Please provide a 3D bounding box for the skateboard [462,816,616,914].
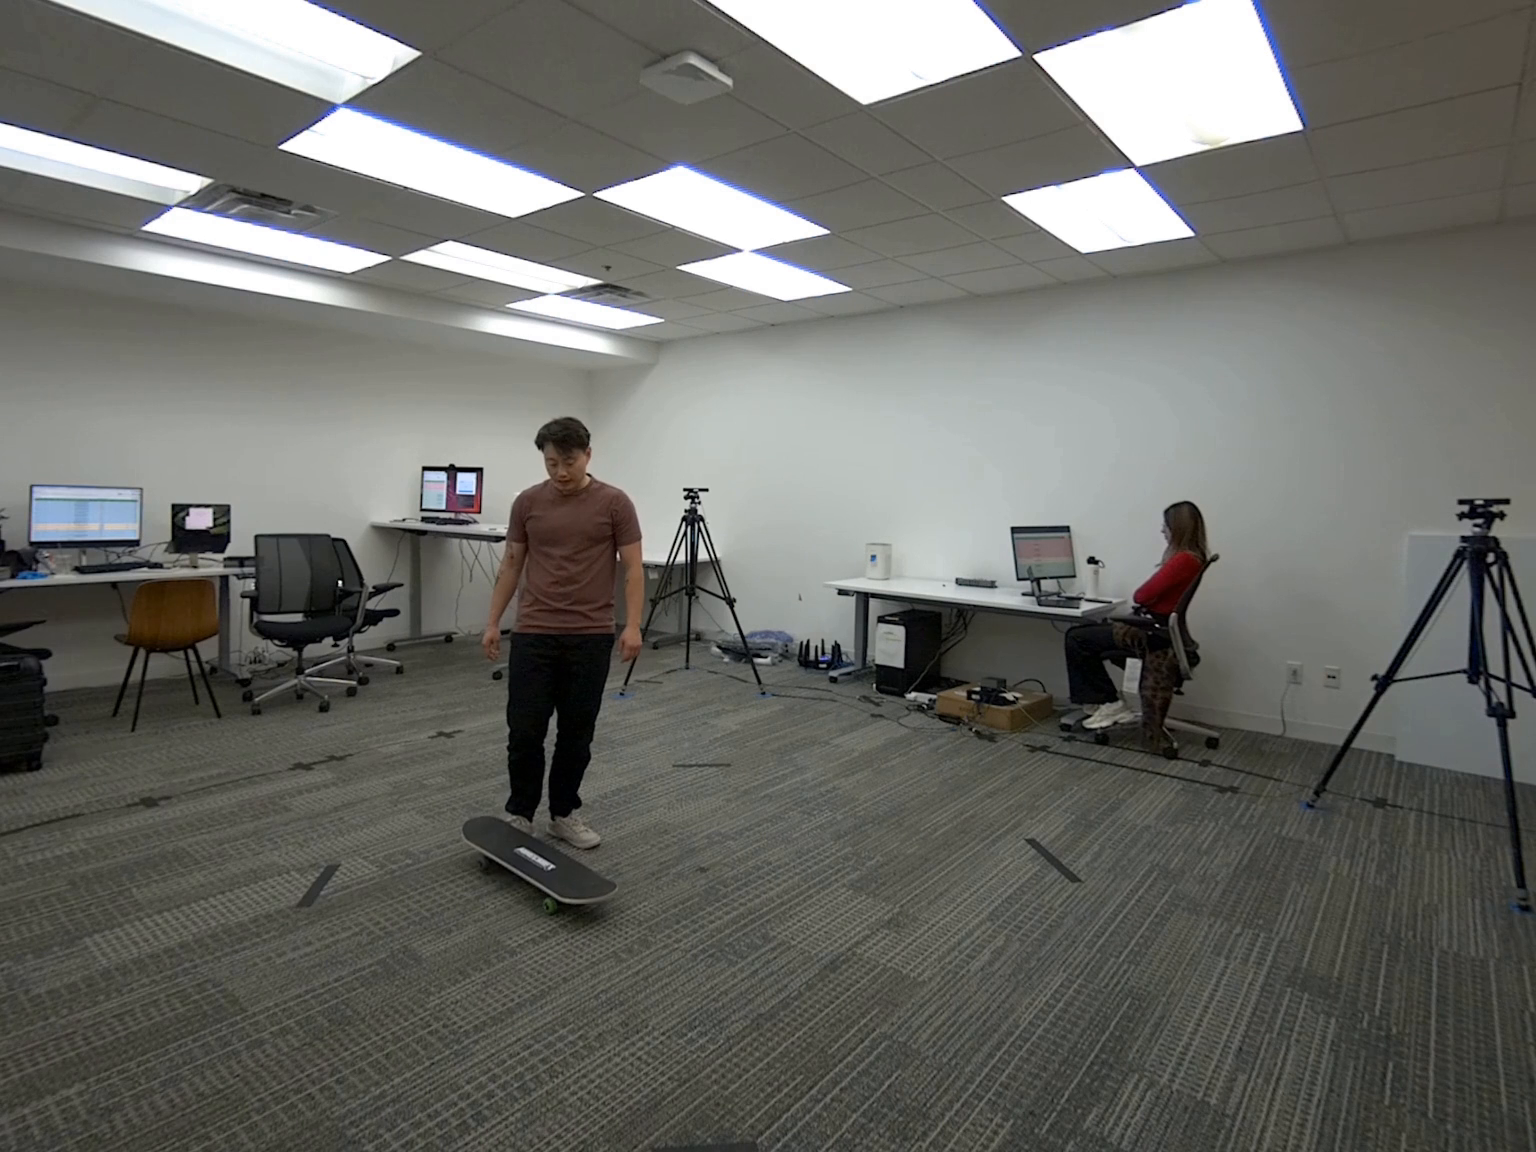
[{"bbox_3d":[-0.823,1.010,2.949,0.813,0.110,0.188,8,9,41],"label":"skateboard"}]
